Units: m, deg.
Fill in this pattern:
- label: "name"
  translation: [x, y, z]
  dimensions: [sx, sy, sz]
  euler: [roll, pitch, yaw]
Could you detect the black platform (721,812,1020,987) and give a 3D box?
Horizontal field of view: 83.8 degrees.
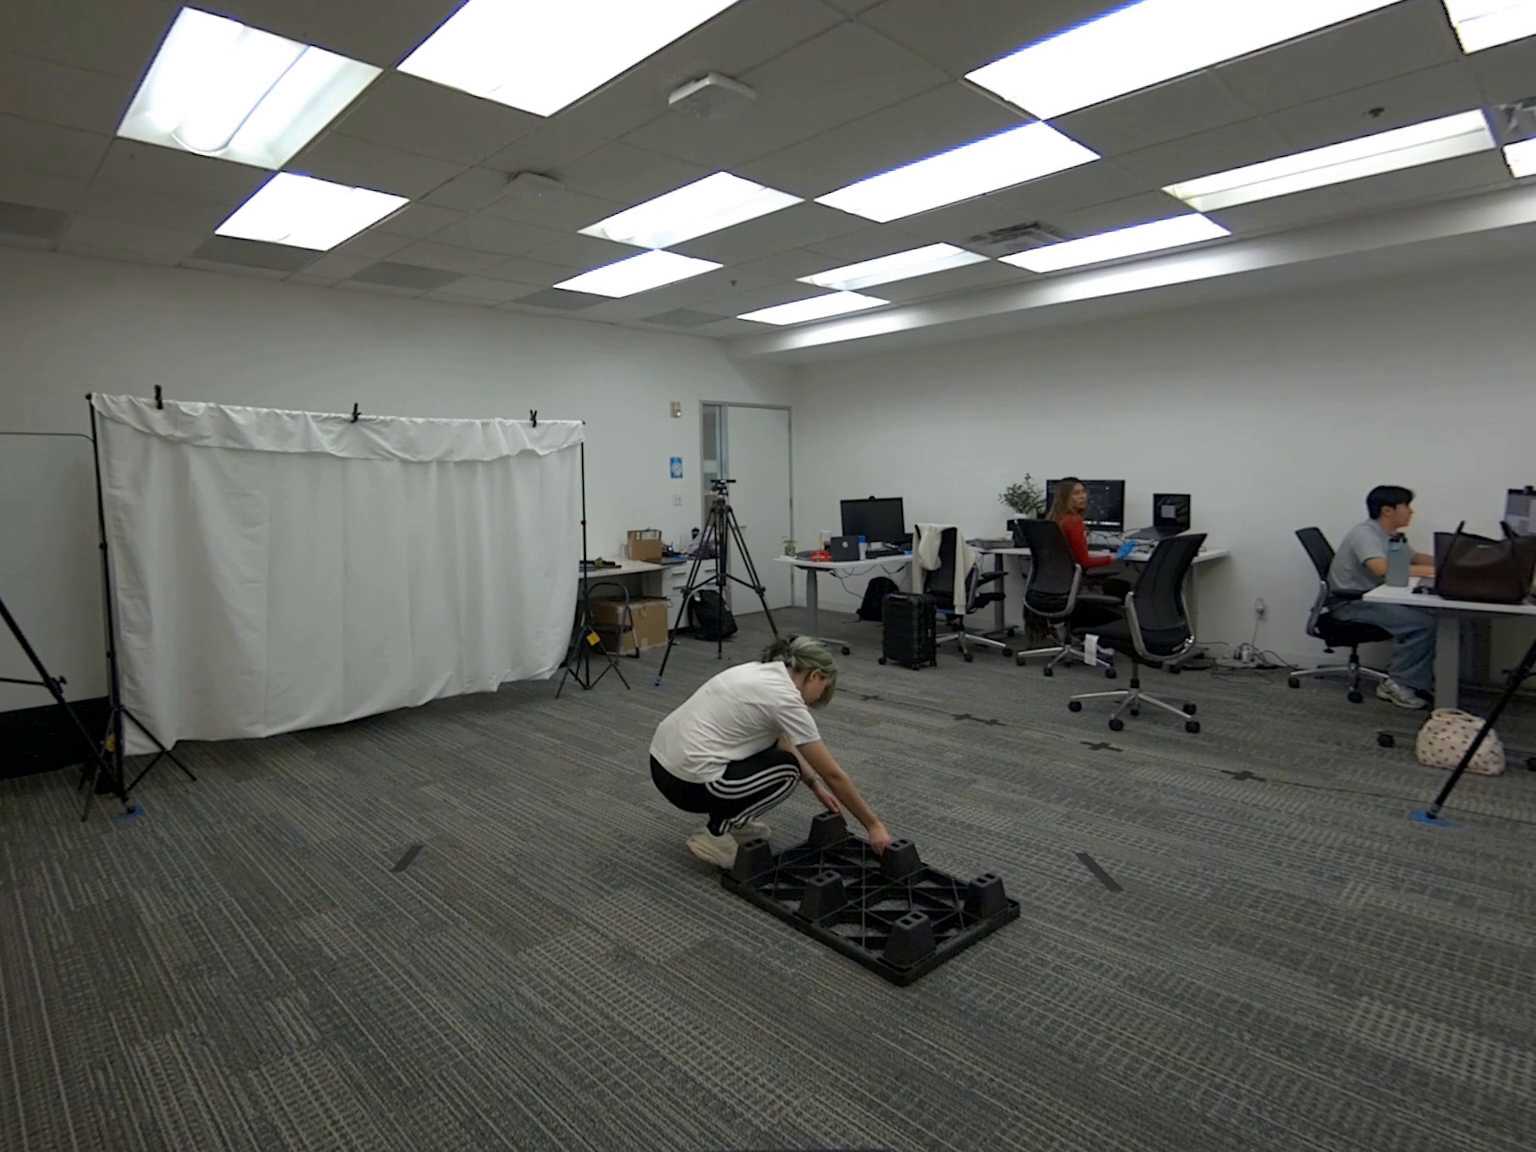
- label: "black platform"
  translation: [0.313, 1.002, 2.823]
  dimensions: [0.589, 0.143, 0.830]
  euler: [-6, 8, -41]
